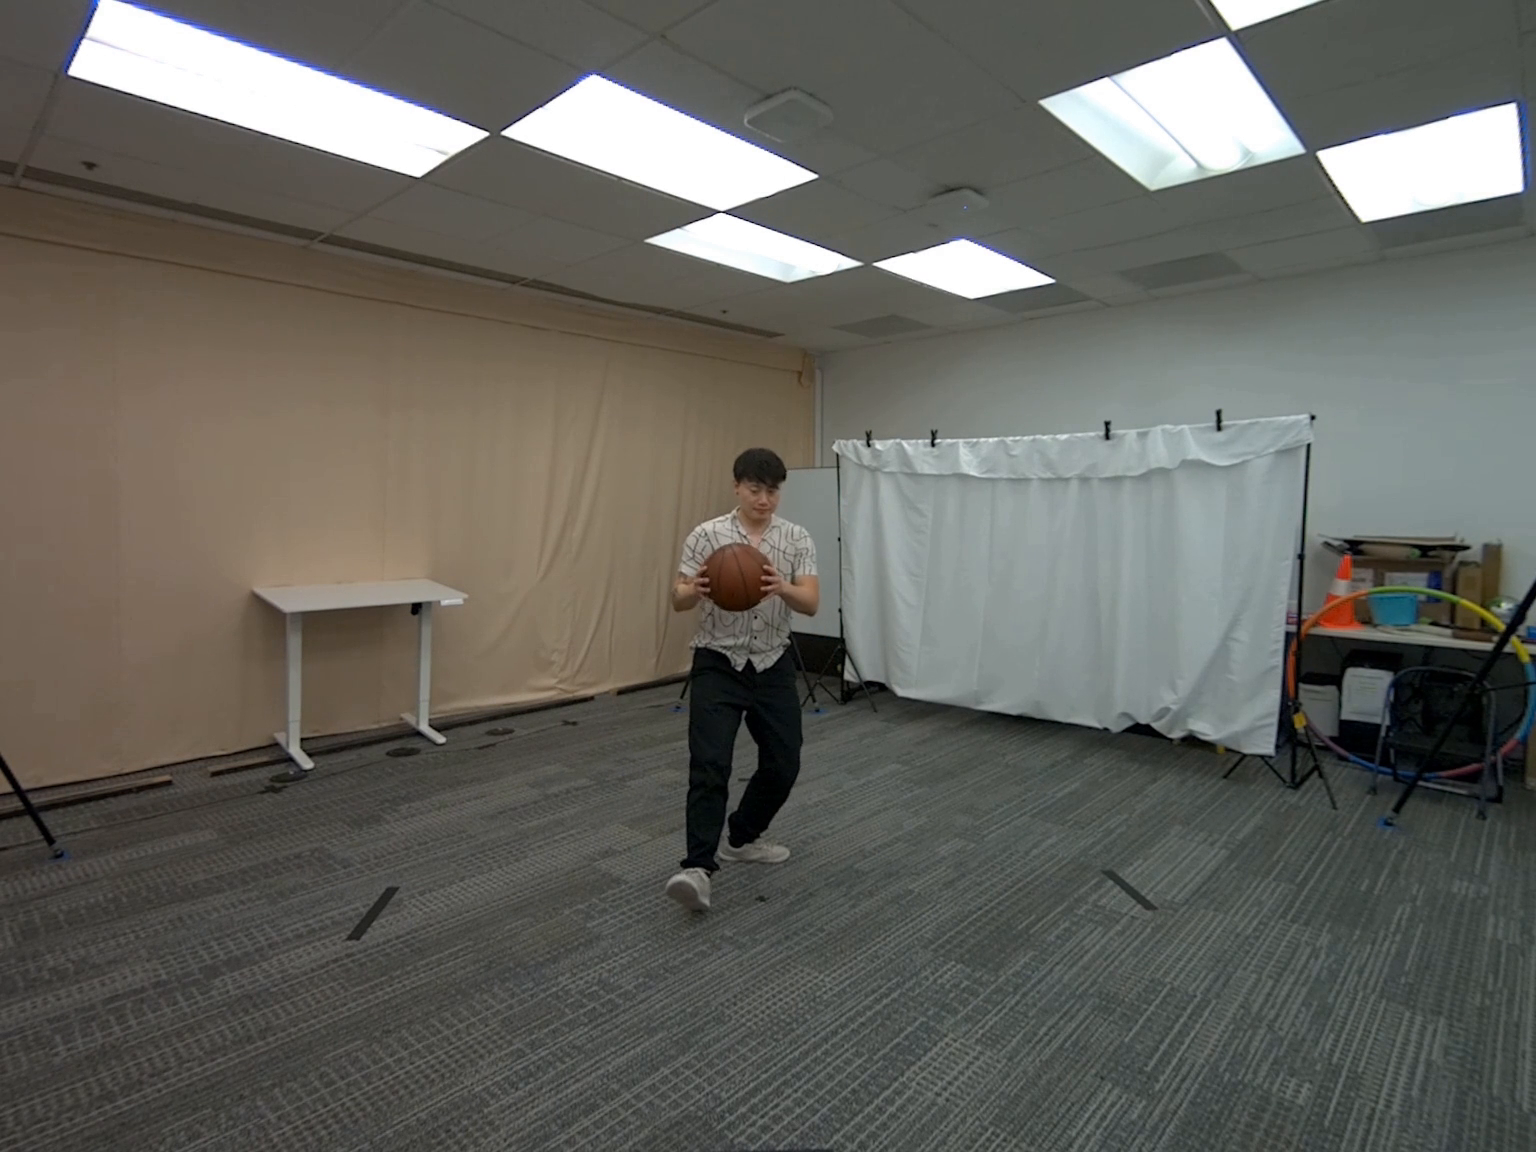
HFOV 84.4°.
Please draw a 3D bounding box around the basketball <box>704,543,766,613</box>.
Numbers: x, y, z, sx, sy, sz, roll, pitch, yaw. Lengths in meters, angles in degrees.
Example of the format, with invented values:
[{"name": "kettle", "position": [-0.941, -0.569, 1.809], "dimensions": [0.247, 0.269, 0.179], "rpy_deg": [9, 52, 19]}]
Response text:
[{"name": "basketball", "position": [-0.102, 0.011, 2.894], "dimensions": [0.236, 0.235, 0.237], "rpy_deg": [0, 4, -2]}]
